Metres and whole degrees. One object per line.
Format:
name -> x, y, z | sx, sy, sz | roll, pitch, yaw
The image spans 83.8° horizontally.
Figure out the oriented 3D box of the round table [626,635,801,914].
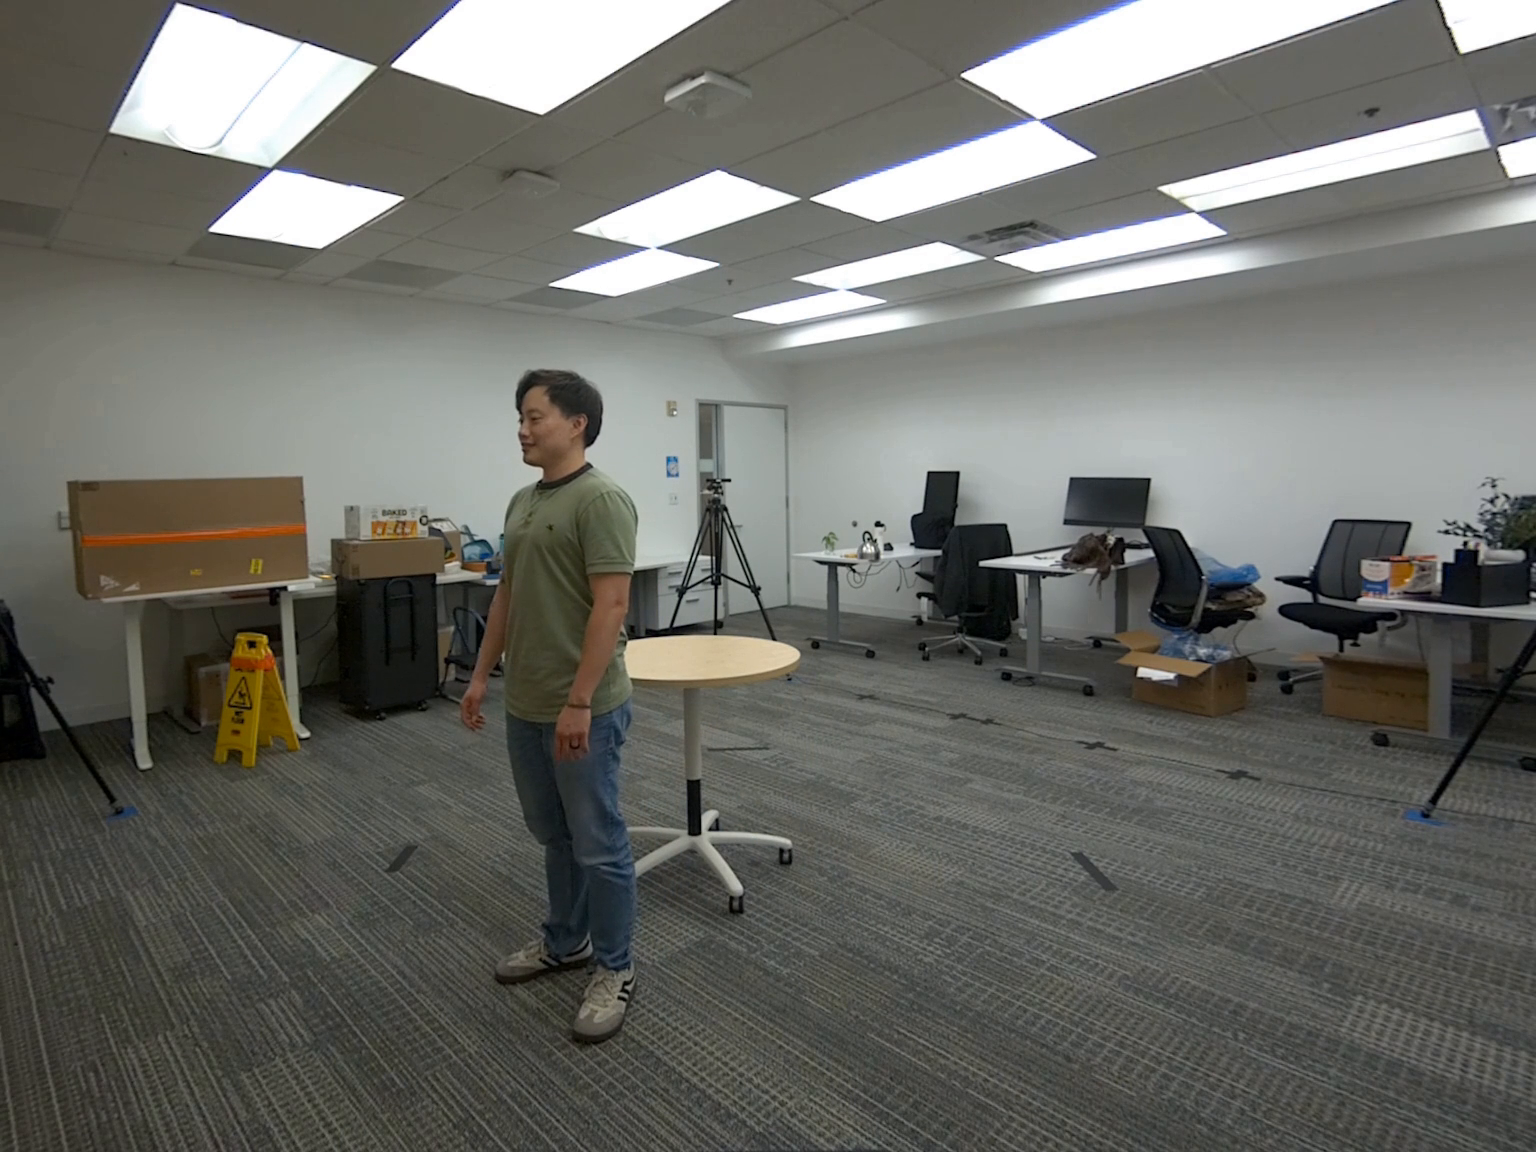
round table -> -0.262, 0.668, 3.021 | 0.763, 0.791, 0.768 | -1, 5, -2
